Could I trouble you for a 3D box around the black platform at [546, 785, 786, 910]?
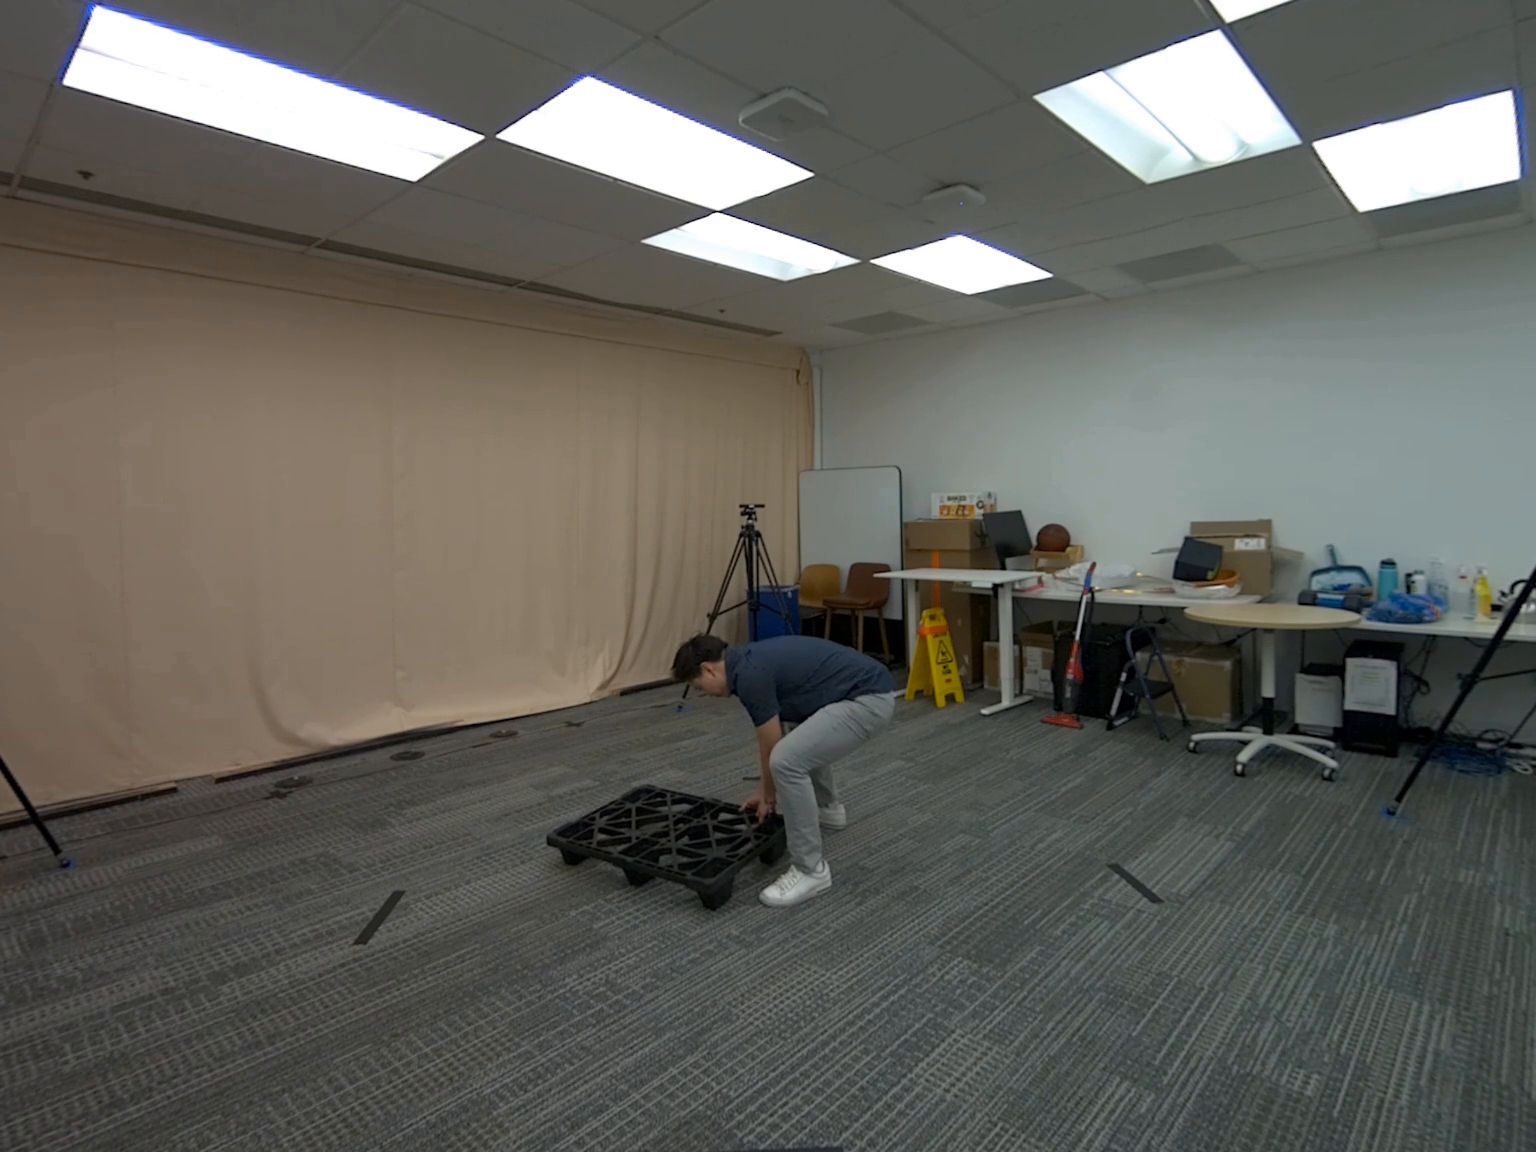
[{"bbox_3d":[-0.372,1.042,3.289,0.830,0.143,0.589,2,9,34],"label":"black platform"}]
